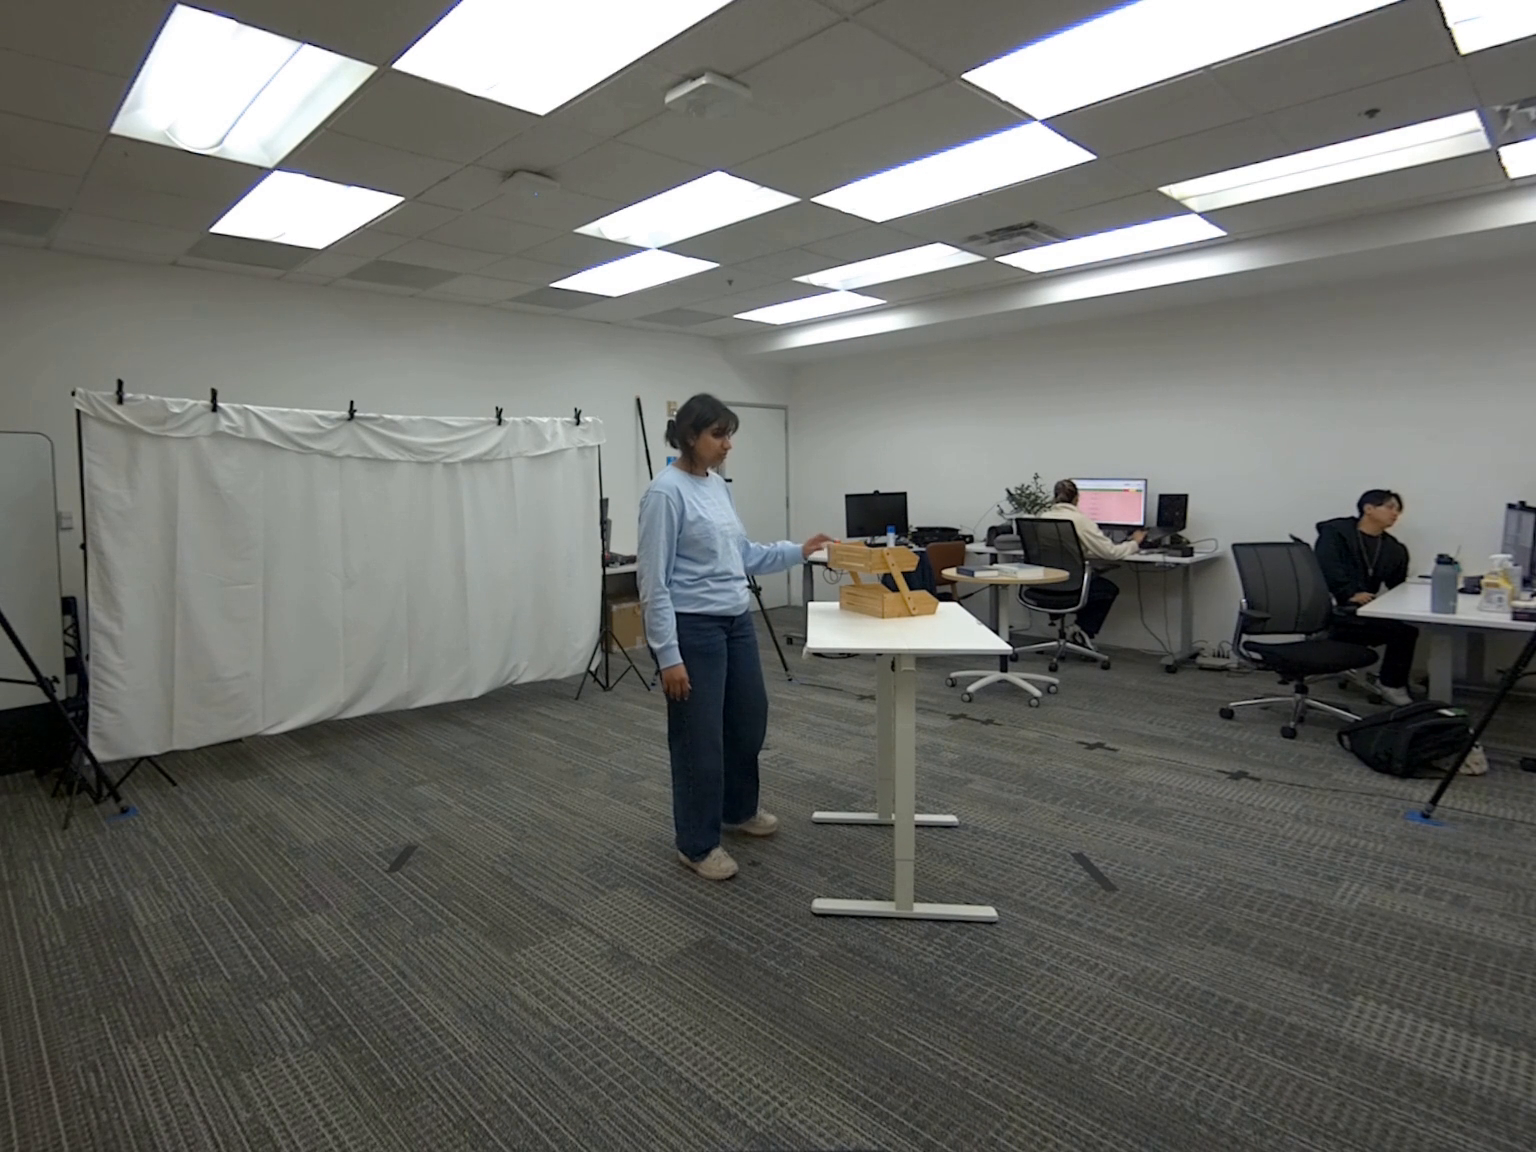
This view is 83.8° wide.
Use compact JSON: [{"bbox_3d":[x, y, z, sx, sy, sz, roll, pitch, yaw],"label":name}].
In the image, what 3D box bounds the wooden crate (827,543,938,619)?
[{"bbox_3d":[0.442,0.006,3.271,0.296,0.272,0.333,-4,6,-26],"label":"wooden crate"}]
